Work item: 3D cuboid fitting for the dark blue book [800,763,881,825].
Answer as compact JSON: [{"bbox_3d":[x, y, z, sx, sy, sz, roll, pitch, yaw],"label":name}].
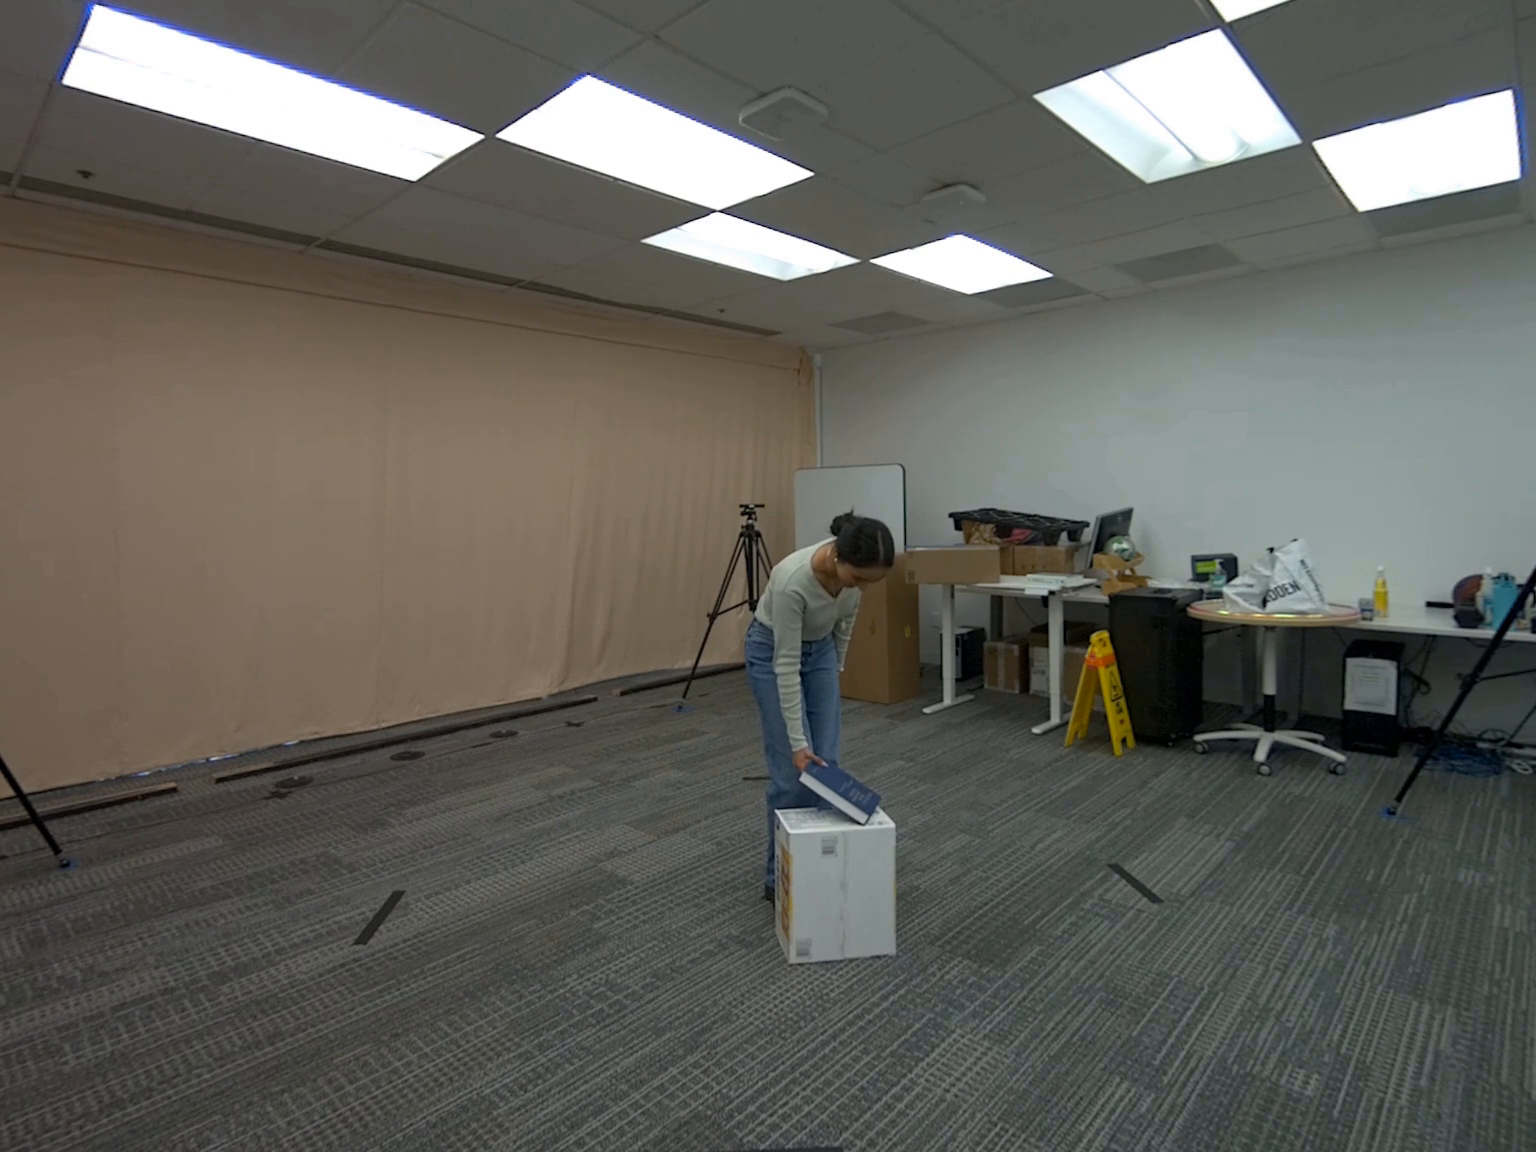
[{"bbox_3d":[0.241,0.680,2.681,0.250,0.045,0.160,32,17,17],"label":"dark blue book"}]
